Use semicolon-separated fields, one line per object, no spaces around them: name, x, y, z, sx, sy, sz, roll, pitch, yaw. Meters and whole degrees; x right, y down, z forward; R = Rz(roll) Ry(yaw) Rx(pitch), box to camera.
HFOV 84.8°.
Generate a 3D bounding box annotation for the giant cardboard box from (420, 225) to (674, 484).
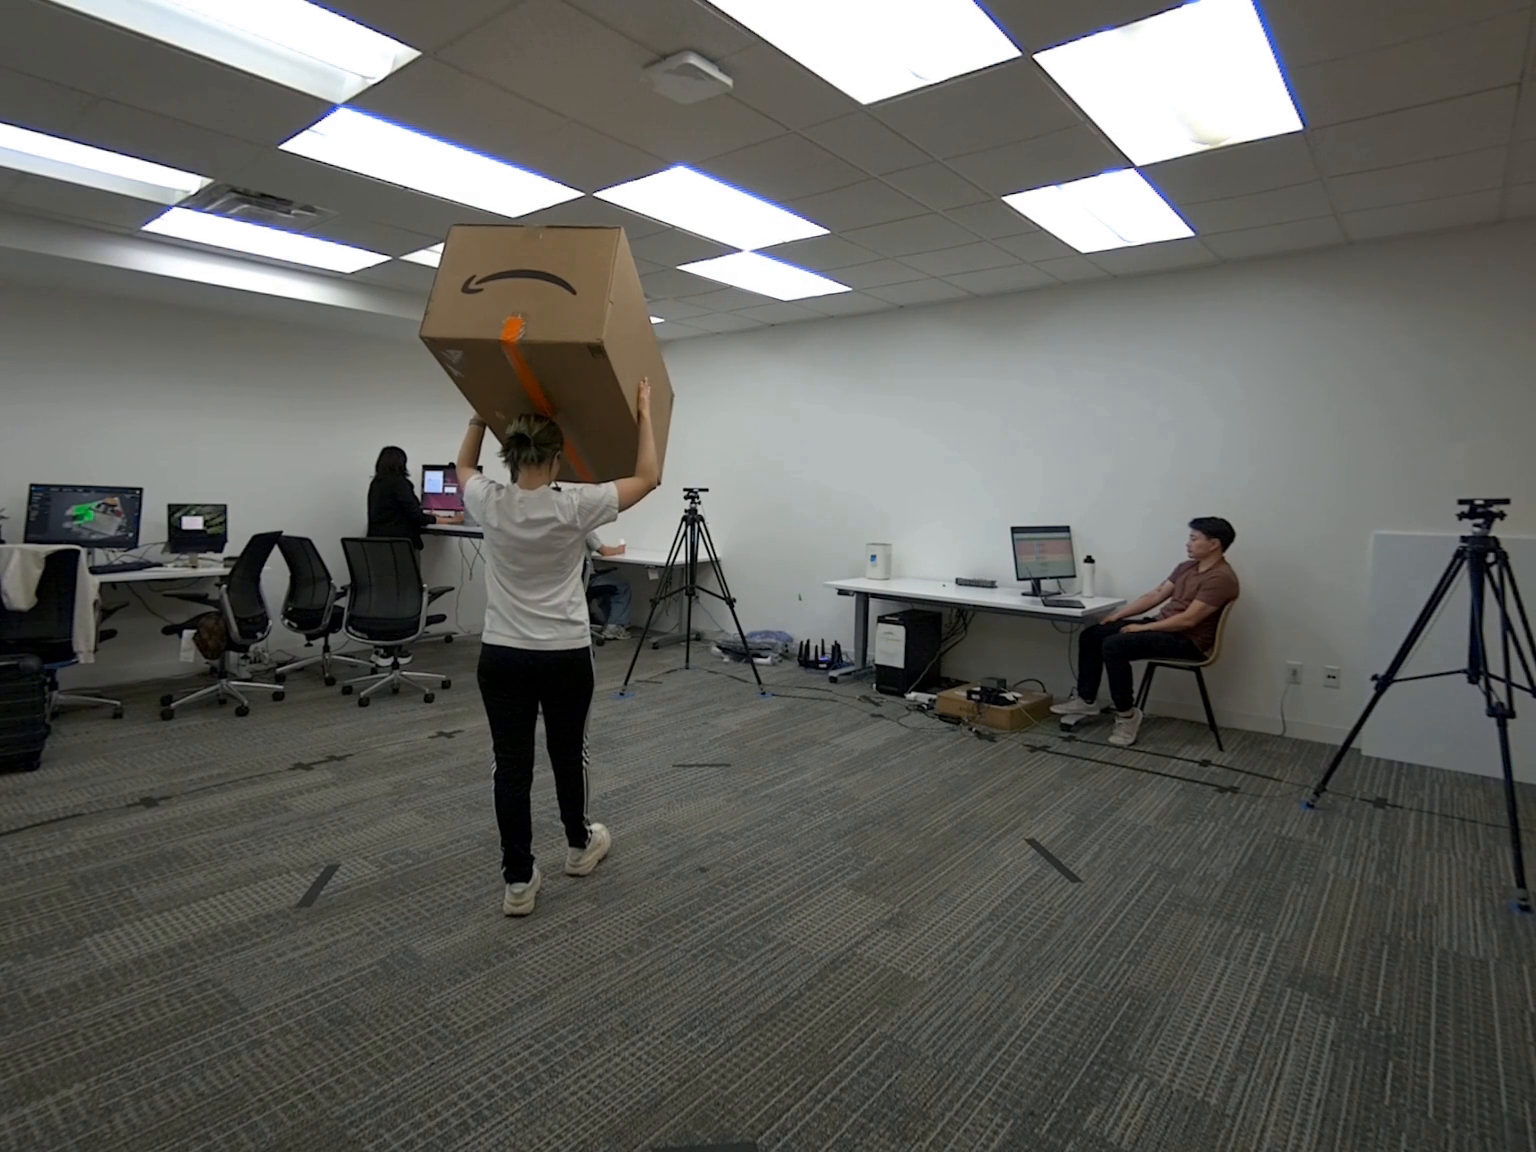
giant cardboard box;-0.730;-0.741;3.057;0.589;0.454;1.002;4;-19;6
